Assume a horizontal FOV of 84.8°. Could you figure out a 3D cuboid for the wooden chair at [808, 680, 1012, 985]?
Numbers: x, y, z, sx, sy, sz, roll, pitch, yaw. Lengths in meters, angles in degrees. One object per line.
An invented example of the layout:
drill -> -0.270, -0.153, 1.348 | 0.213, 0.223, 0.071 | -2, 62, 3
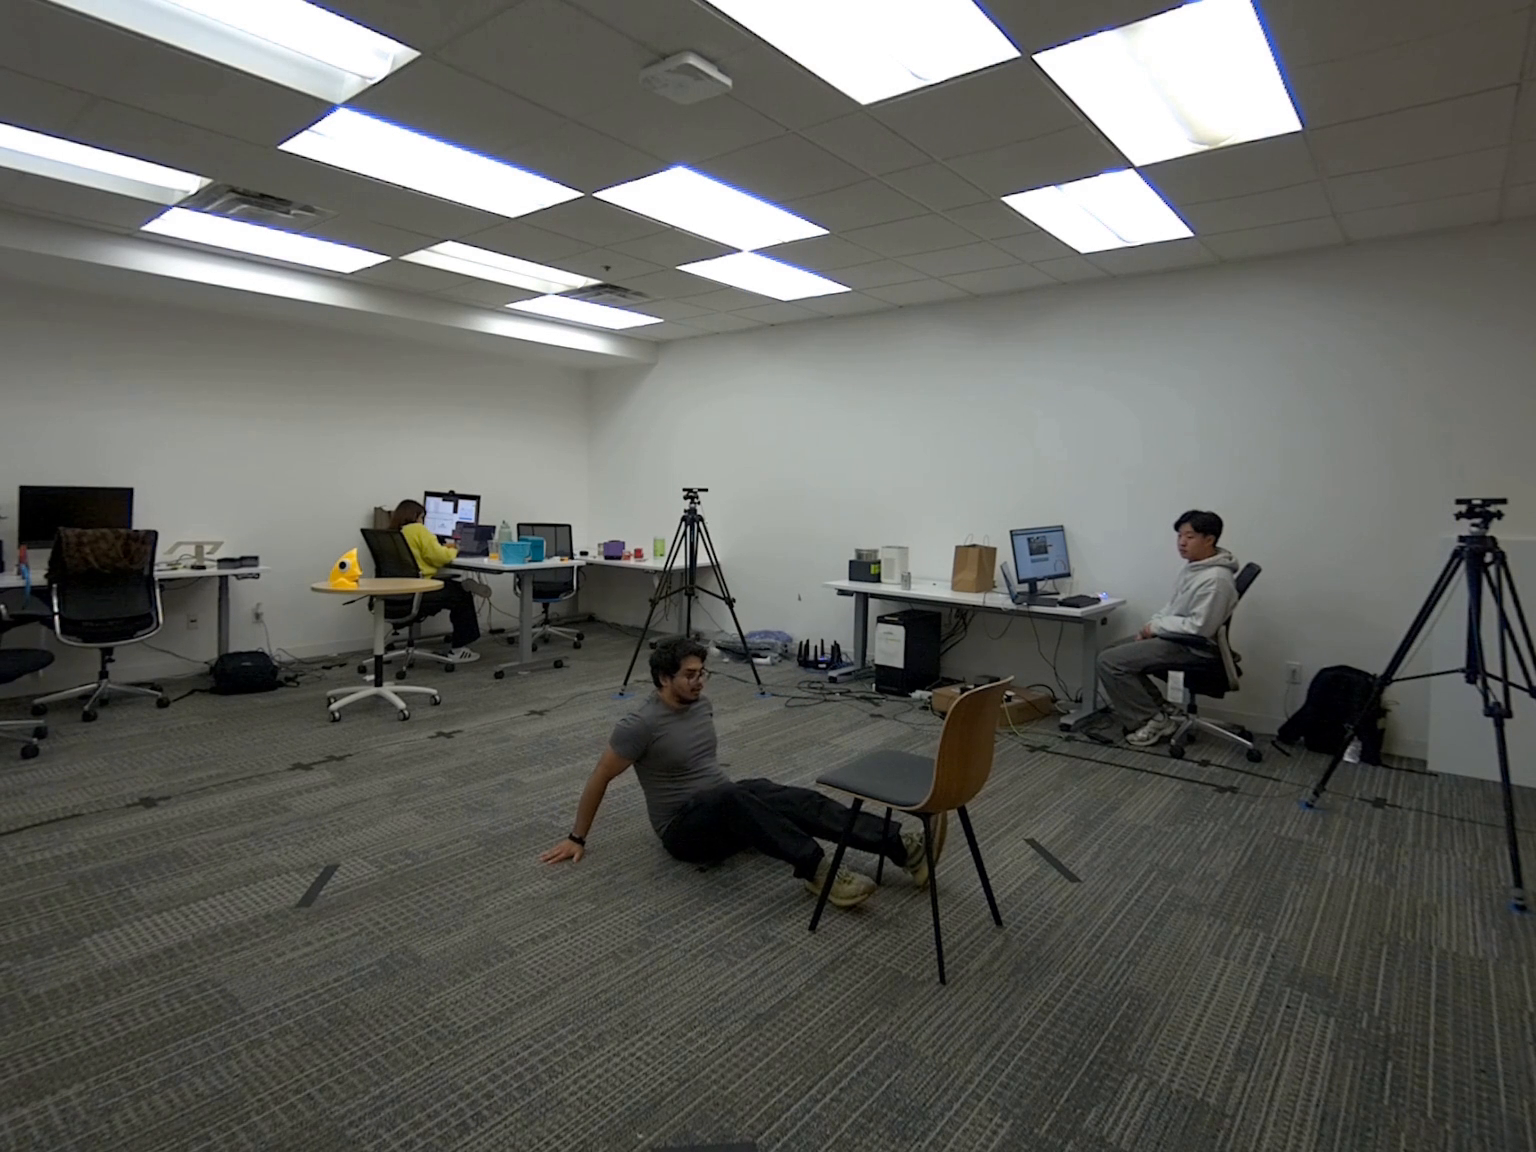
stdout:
wooden chair -> 0.444, 0.698, 2.694 | 0.541, 0.873, 0.464 | 9, 7, 37
